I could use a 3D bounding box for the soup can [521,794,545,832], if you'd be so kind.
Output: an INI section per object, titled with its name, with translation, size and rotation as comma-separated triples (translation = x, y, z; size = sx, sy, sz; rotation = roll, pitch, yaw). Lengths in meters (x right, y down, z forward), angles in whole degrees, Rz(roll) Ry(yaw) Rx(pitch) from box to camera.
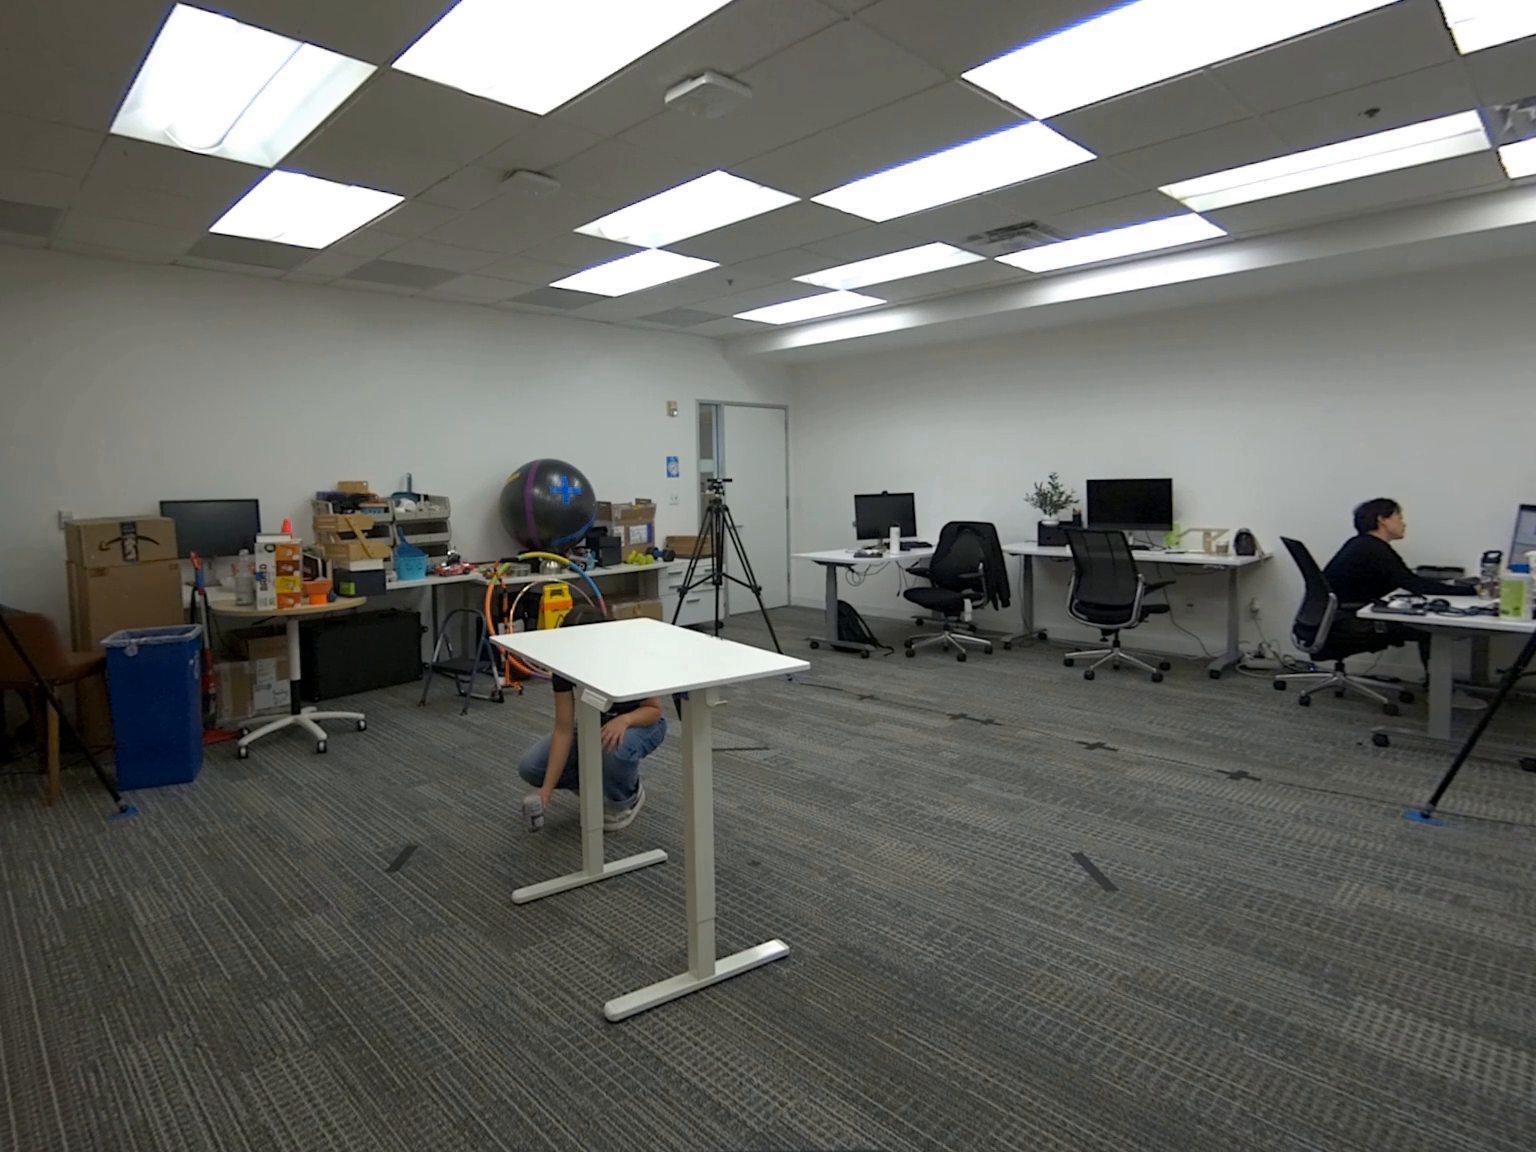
[soup can]
translation = -0.870, 0.883, 3.172
size = 0.067, 0.121, 0.067
rotation = -9, 6, -1
